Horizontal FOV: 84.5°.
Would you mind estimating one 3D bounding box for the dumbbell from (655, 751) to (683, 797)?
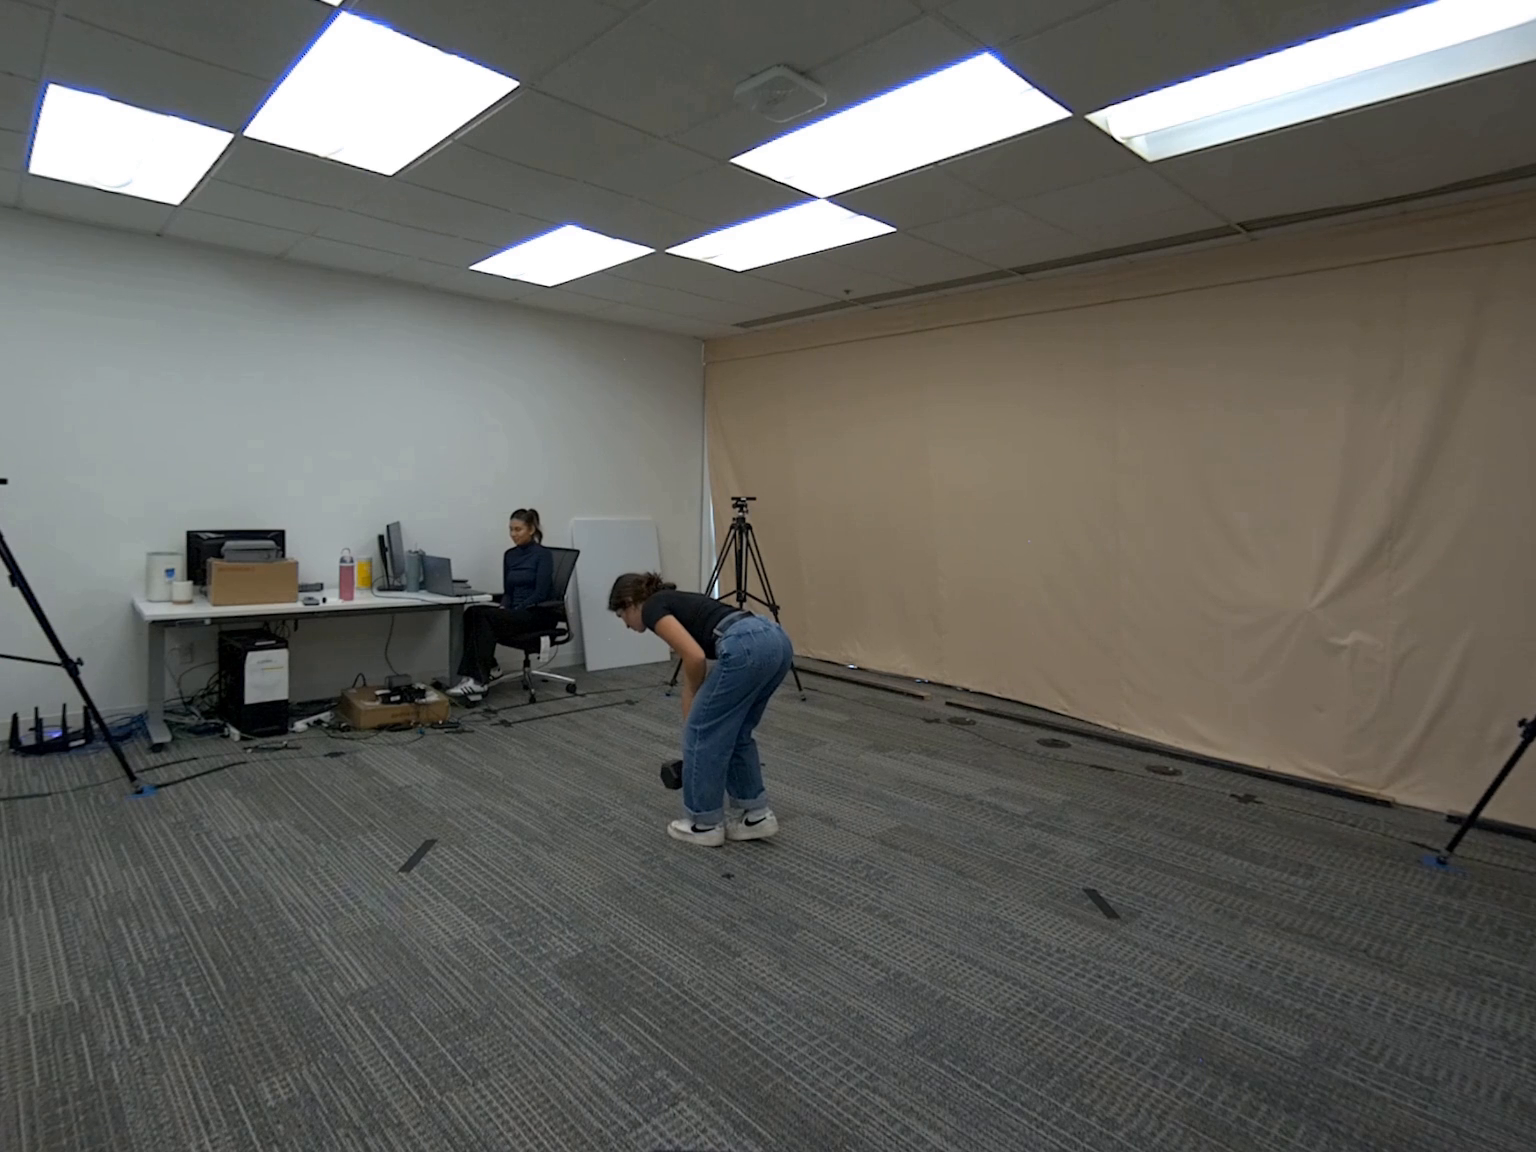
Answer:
[{"bbox_3d":[-0.306,0.791,3.535,0.288,0.125,0.108,-14,-29,-42],"label":"dumbbell"}]
